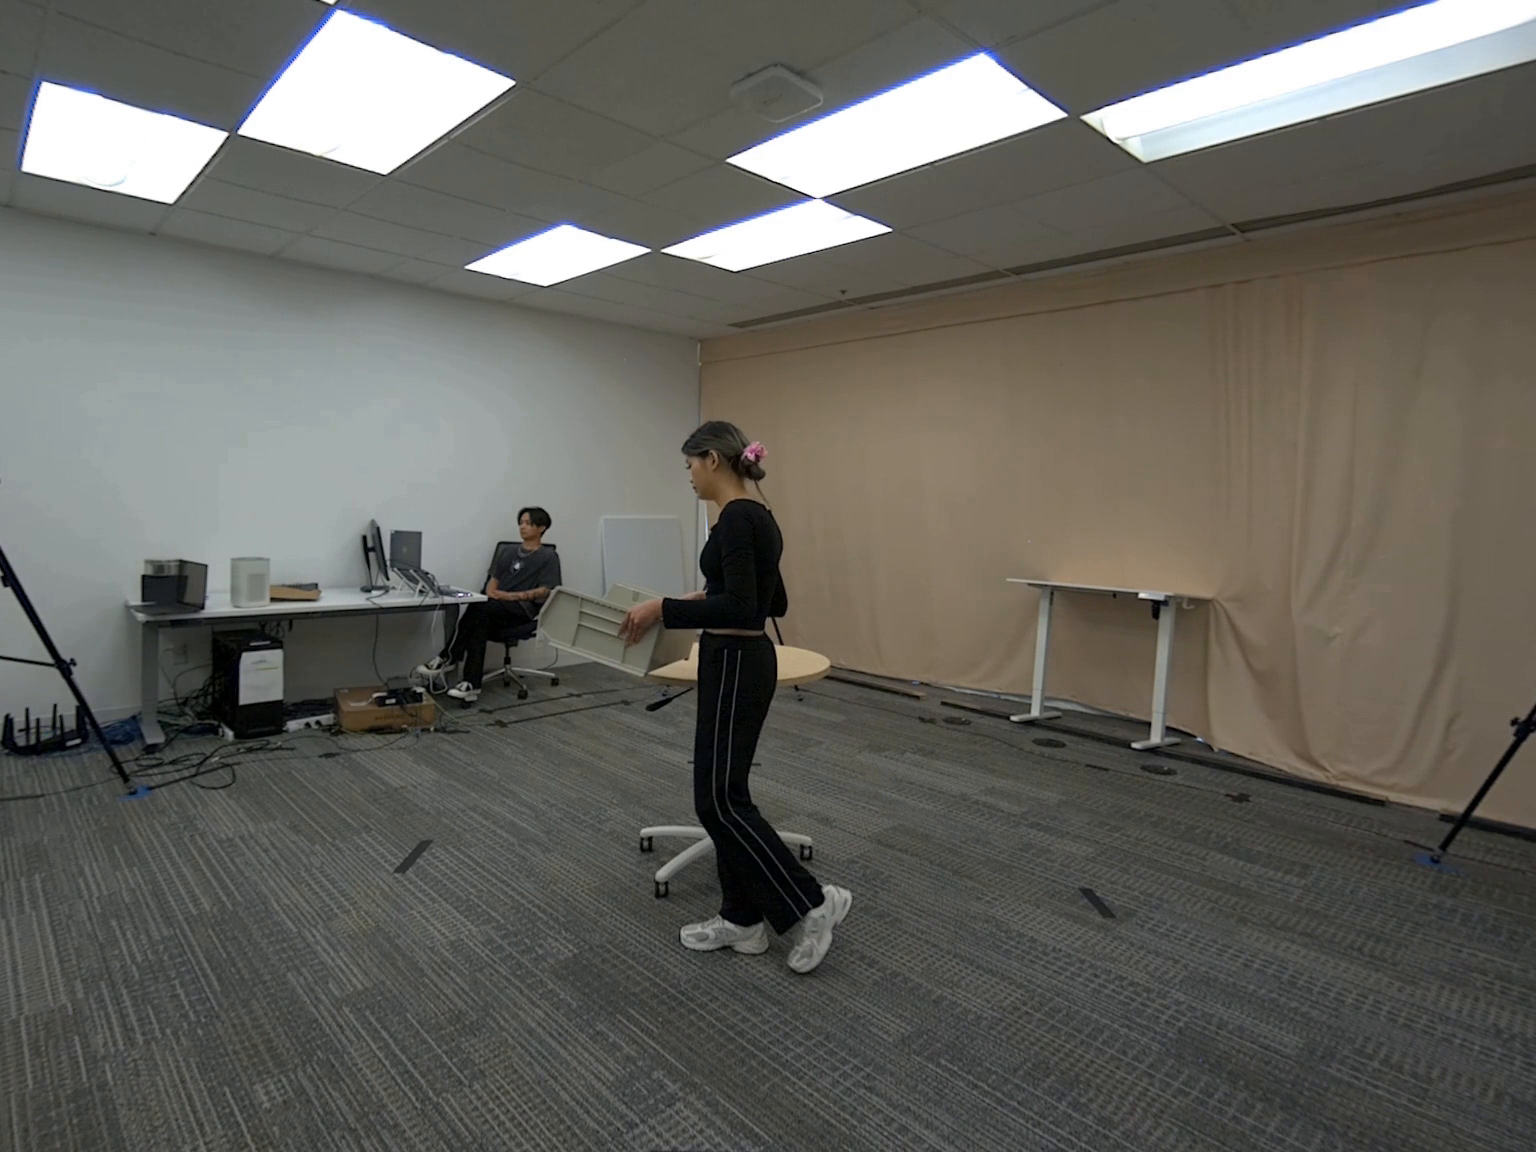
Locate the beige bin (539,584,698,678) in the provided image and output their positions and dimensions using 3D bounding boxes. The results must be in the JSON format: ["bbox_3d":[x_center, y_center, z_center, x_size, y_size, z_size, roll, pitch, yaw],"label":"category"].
[{"bbox_3d":[-0.453,0.157,2.638,0.383,0.188,0.417,17,6,14],"label":"beige bin"}]
